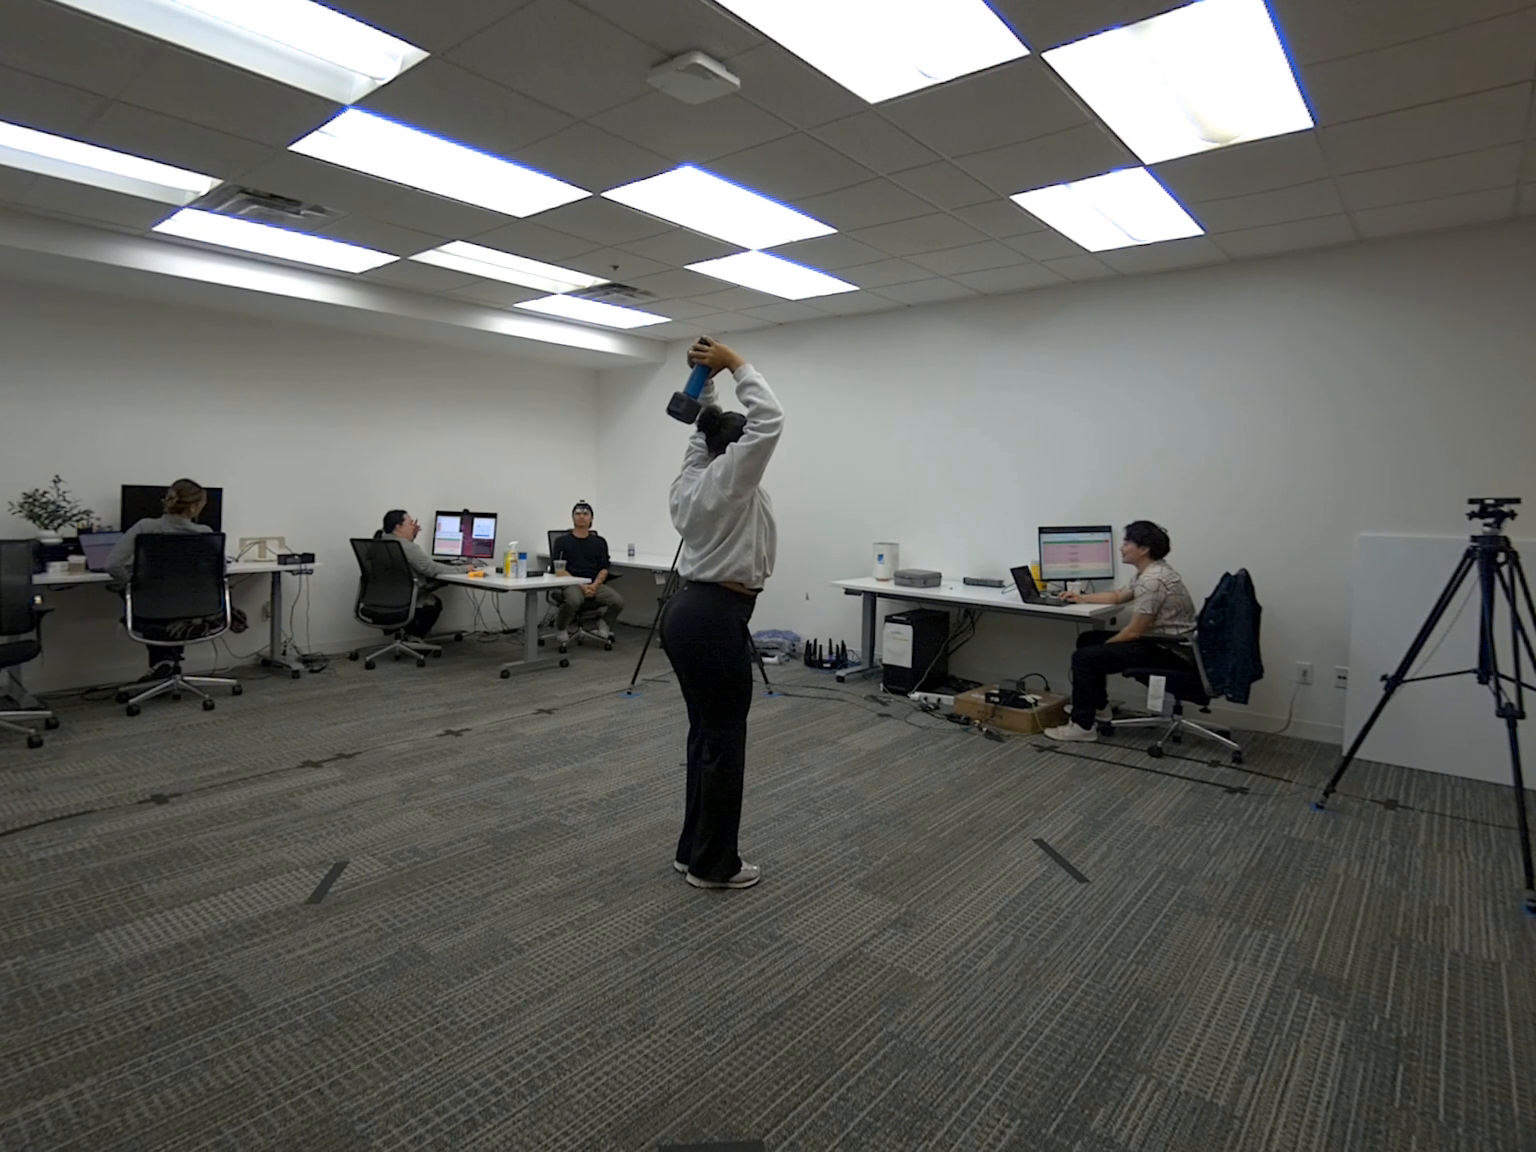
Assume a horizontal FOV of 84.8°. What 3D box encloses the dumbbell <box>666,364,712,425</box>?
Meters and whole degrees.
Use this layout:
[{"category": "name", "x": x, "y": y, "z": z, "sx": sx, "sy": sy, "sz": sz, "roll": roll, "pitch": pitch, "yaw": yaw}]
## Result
[{"category": "dumbbell", "x": -0.259, "y": -0.672, "z": 2.945, "sx": 0.126, "sy": 0.293, "sz": 0.106, "roll": 26, "pitch": 0, "yaw": 20}]
